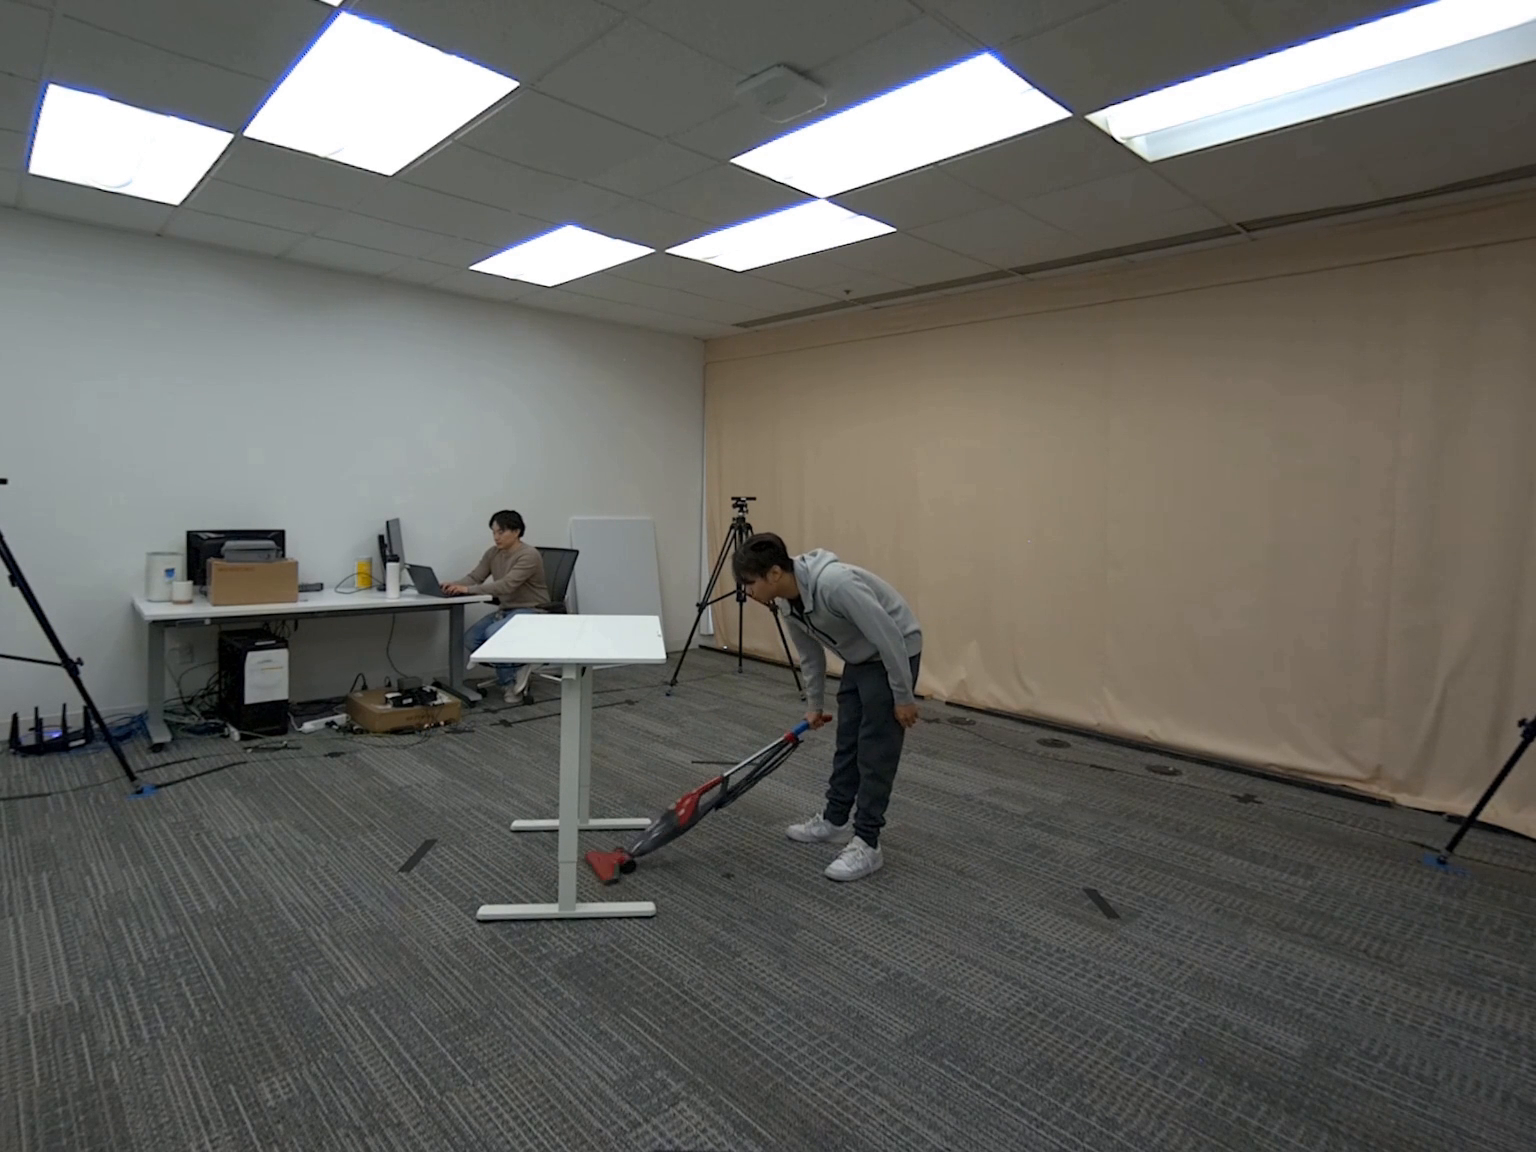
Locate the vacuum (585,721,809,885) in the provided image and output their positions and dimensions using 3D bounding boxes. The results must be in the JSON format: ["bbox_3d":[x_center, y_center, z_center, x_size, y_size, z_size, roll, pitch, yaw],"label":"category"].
[{"bbox_3d":[-0.176,0.841,3.325,1.041,0.141,0.260,-28,26,-22],"label":"vacuum"}]
